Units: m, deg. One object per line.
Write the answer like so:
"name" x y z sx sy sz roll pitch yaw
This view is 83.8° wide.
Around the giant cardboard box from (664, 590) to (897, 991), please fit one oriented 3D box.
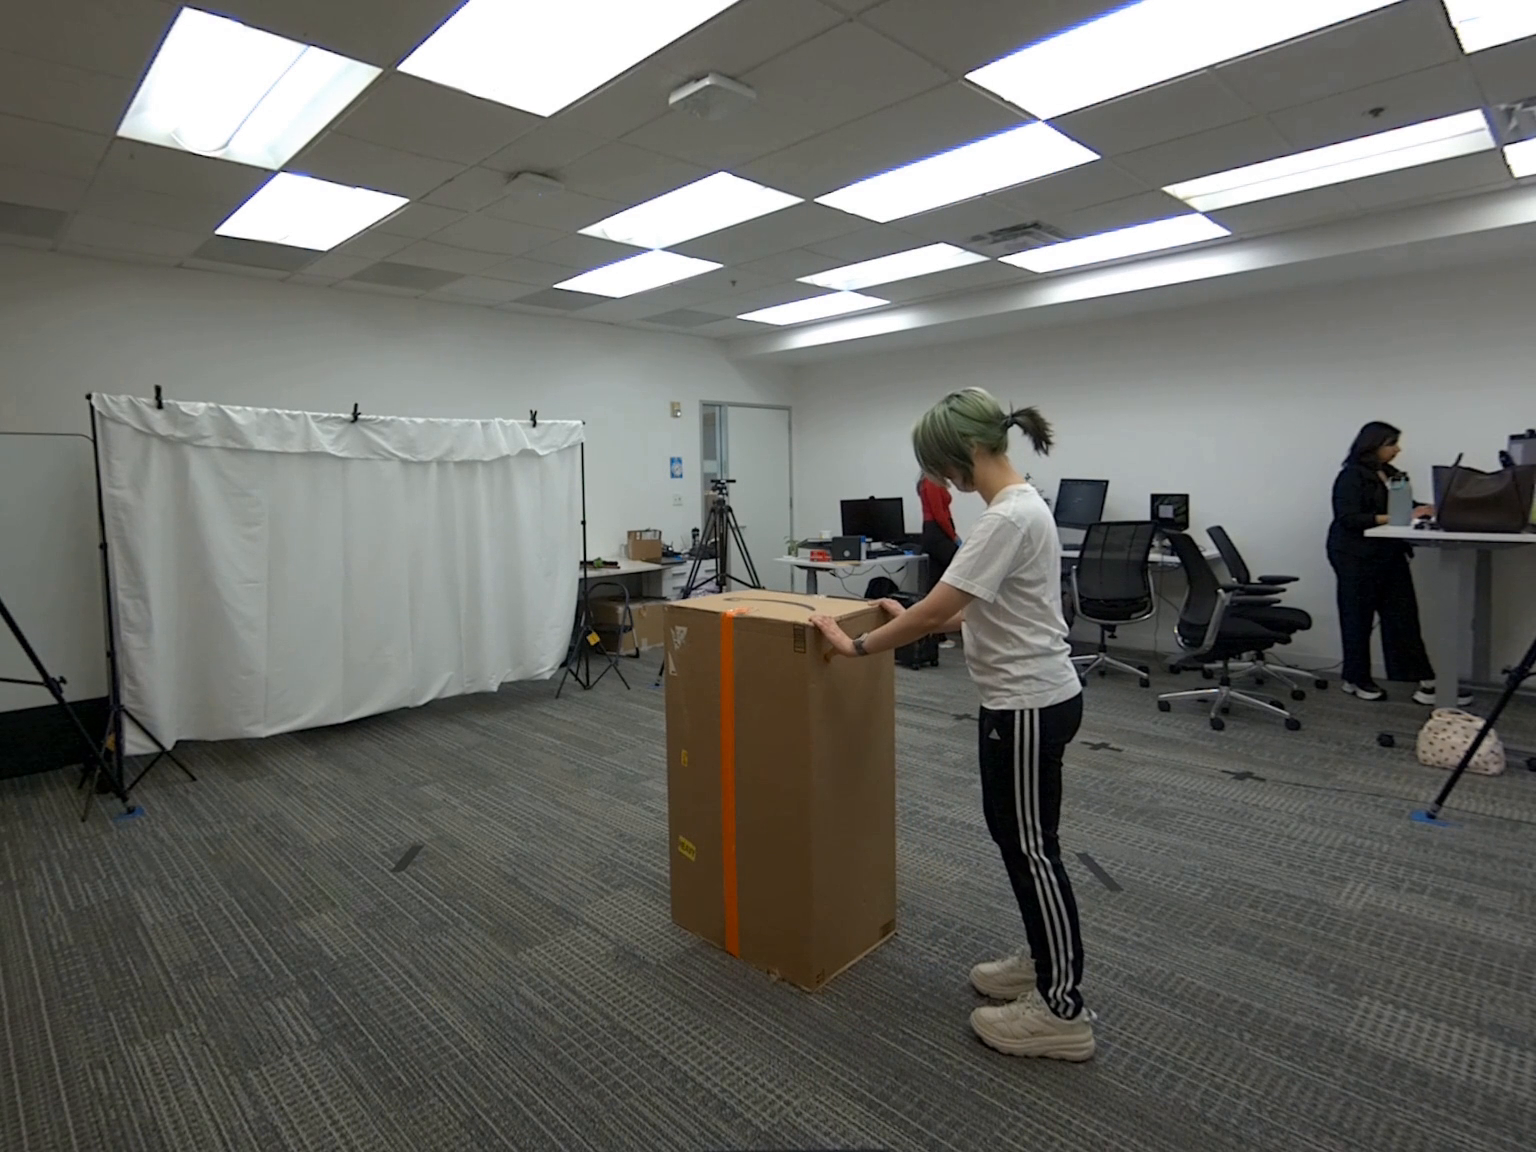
"giant cardboard box" 0.034 0.593 2.628 0.602 1.023 0.435 3 5 42
